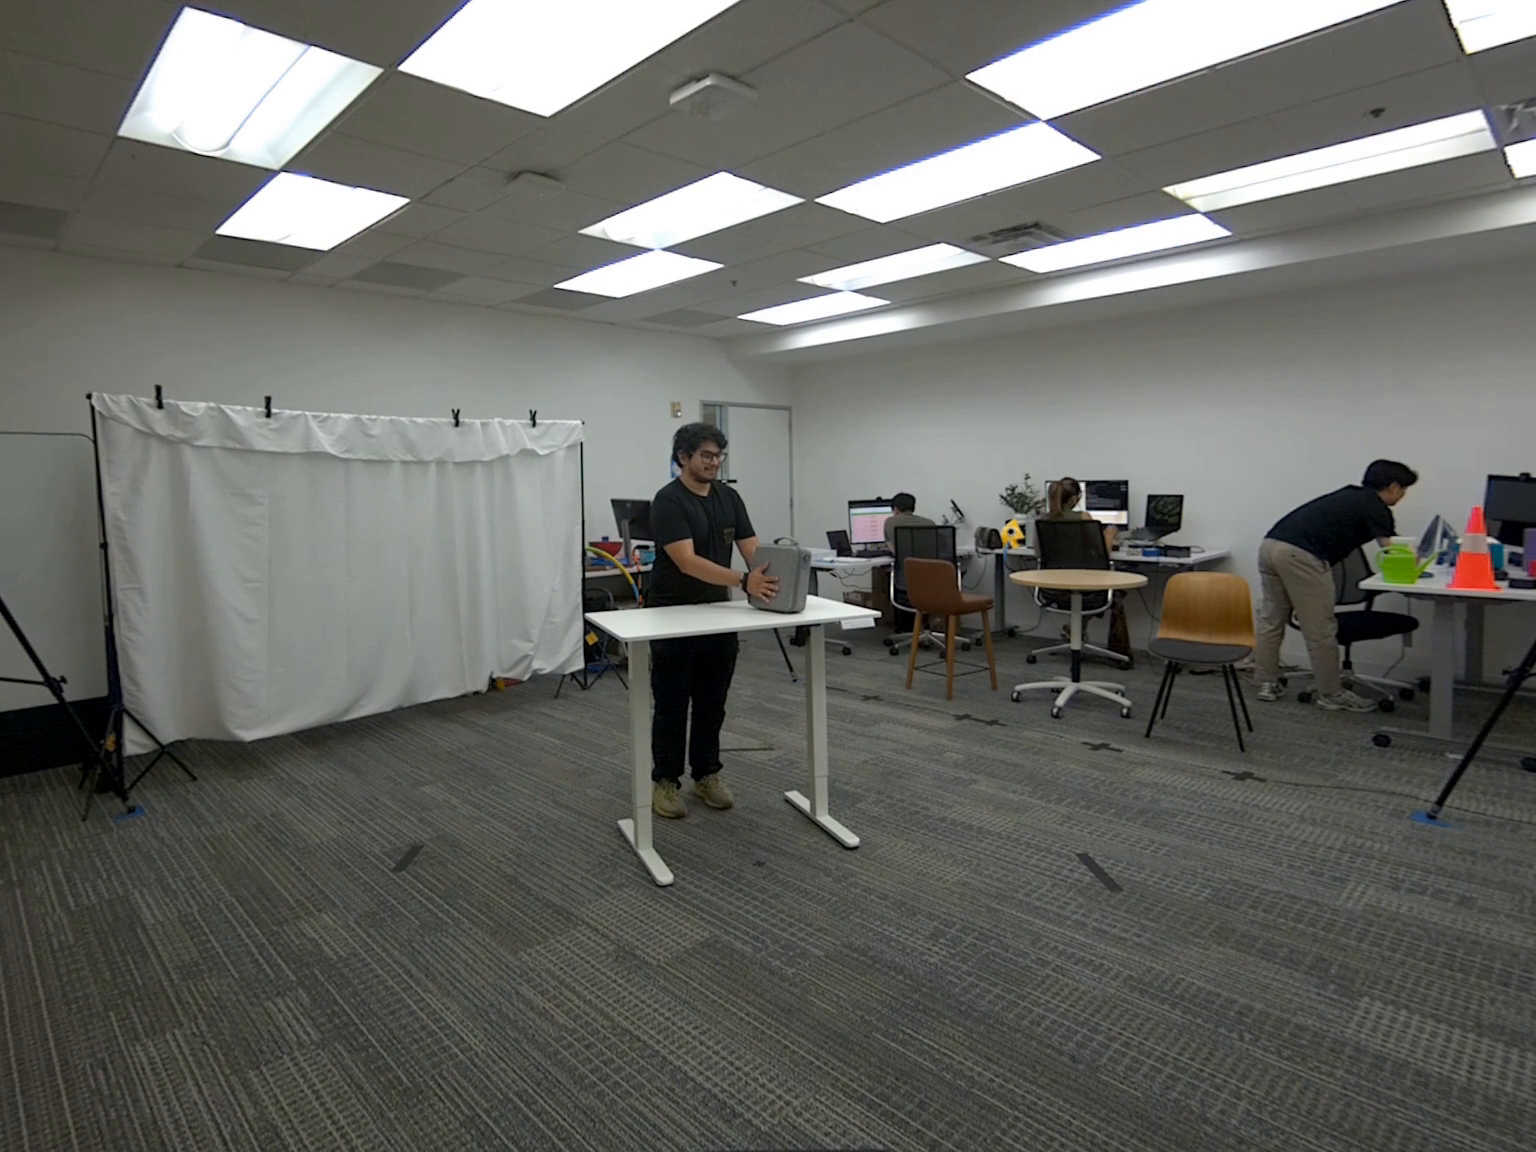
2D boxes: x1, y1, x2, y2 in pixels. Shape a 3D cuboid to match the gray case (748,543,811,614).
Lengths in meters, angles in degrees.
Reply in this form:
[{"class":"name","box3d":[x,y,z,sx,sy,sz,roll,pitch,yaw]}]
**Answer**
[{"class":"gray case","box3d":[0.048,0.006,3.339,0.101,0.261,0.264,11,-5,-37]}]
